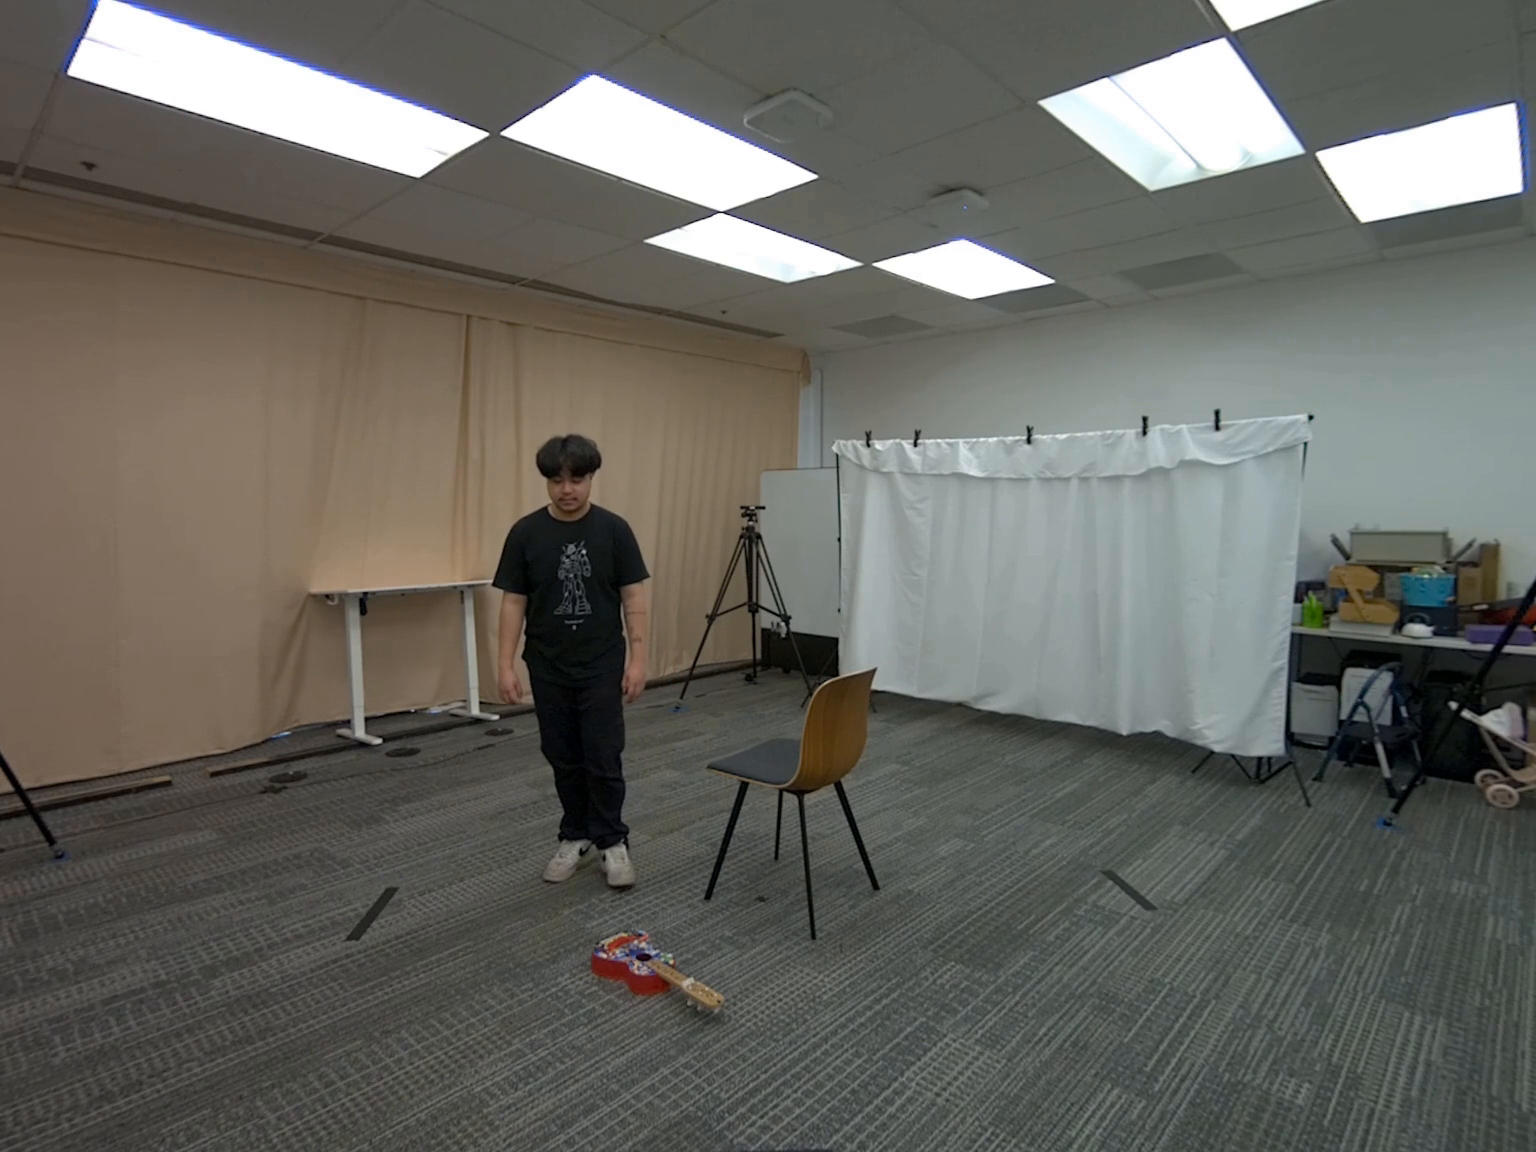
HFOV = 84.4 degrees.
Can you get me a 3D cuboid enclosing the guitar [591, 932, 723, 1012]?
[{"bbox_3d":[-0.334,1.161,2.415,0.187,0.070,0.514,-3,5,-36],"label":"guitar"}]
